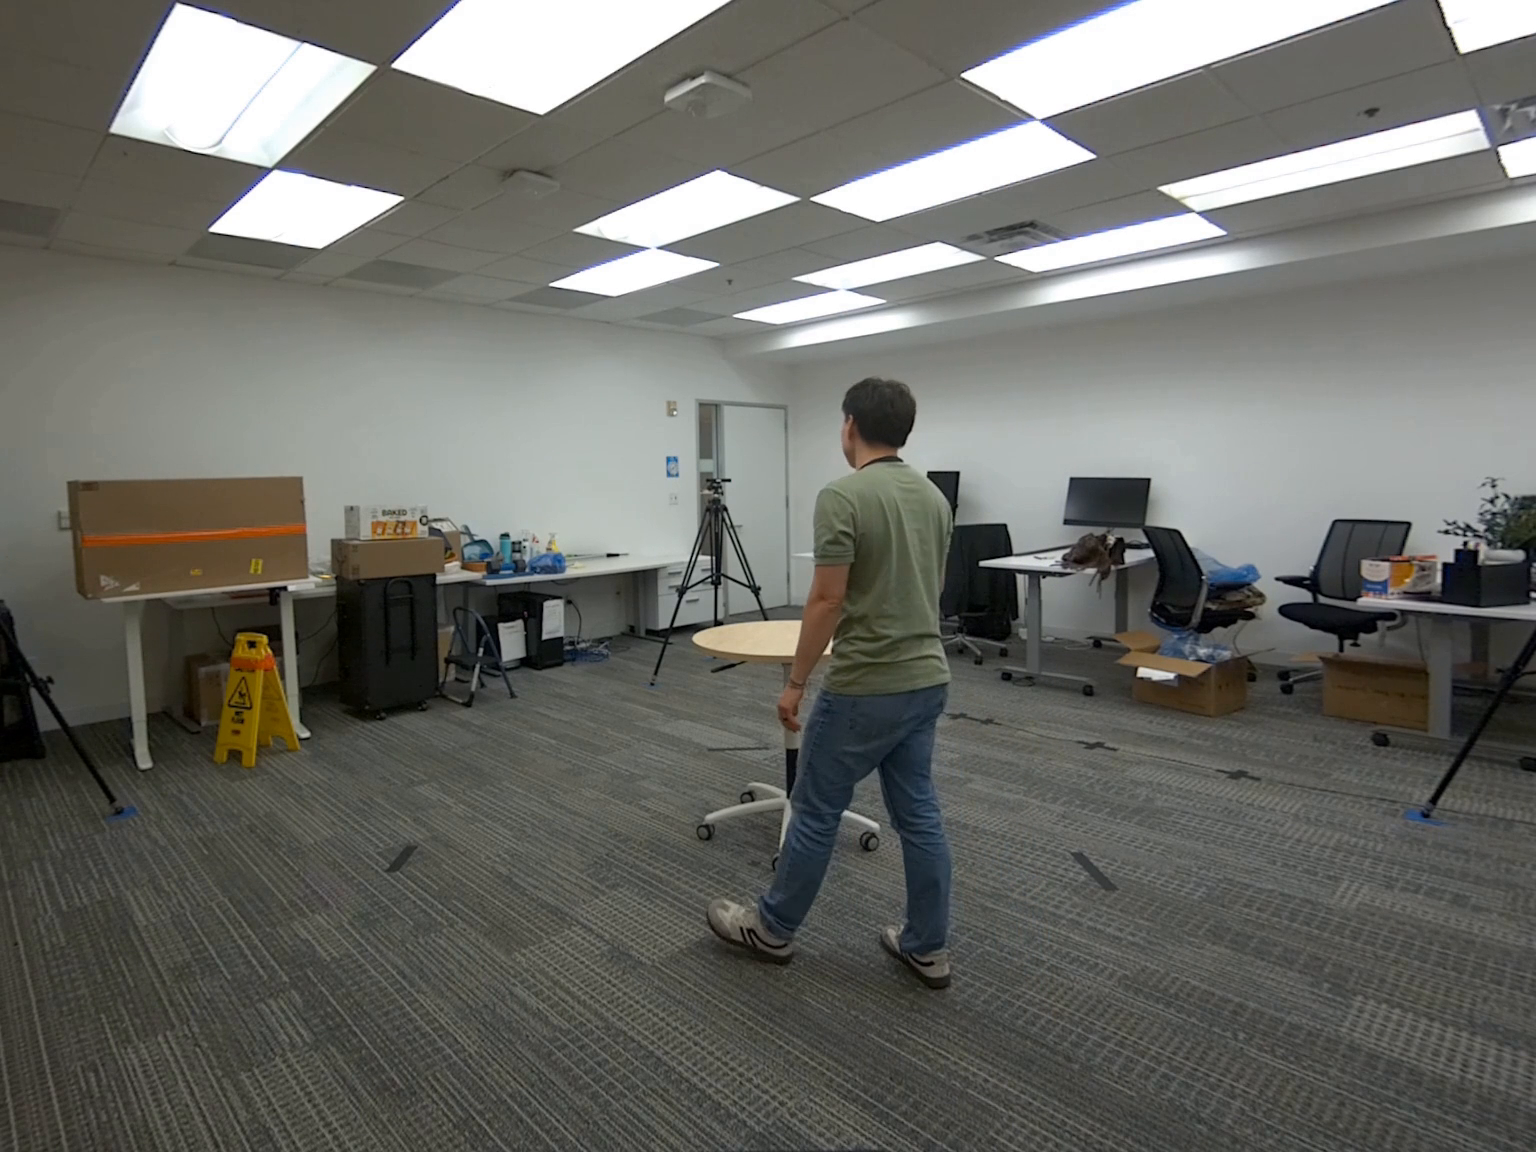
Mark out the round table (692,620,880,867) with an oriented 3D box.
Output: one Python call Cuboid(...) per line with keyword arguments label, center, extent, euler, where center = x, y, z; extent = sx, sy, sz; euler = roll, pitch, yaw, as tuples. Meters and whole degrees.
Cuboid(label="round table", center=(0.094, 0.627, 3.348), extent=(0.763, 0.791, 0.768), euler=(-1, 4, -2))
